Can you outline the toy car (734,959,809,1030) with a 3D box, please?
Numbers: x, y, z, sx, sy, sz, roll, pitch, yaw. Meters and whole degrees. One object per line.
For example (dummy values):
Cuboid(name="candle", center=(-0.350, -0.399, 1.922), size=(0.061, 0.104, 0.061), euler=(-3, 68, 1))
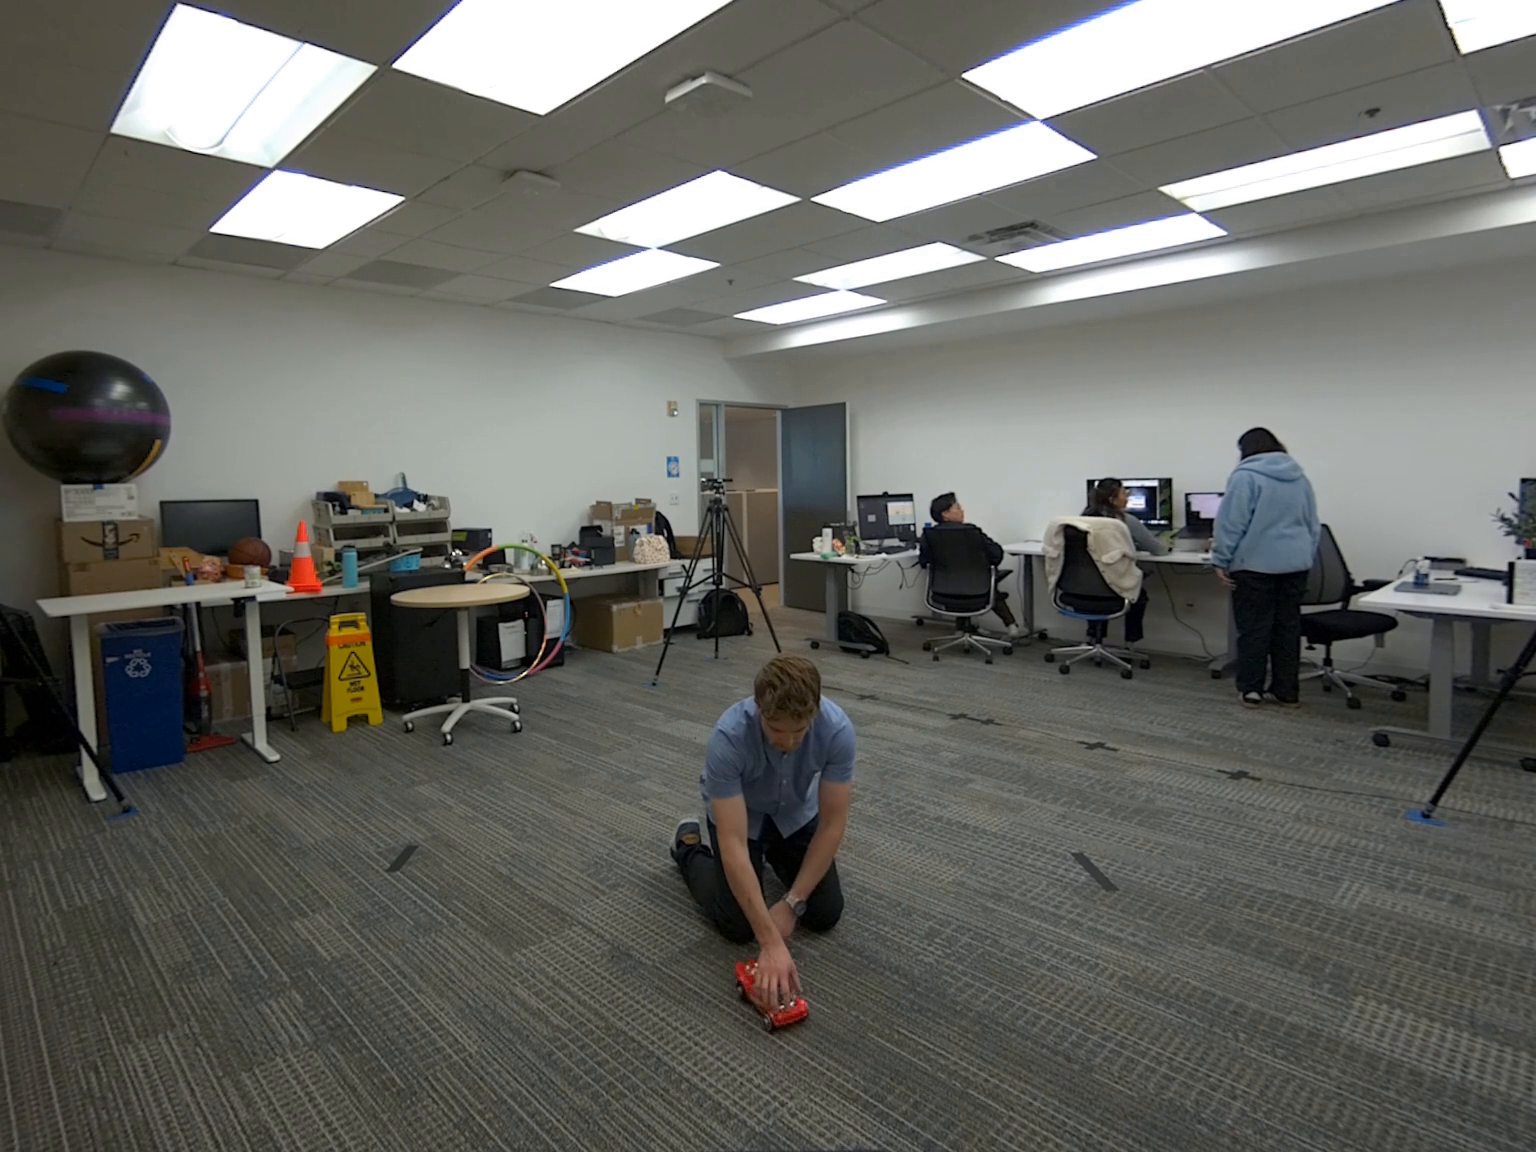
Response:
Cuboid(name="toy car", center=(0.005, 1.115, 2.274), size=(0.128, 0.082, 0.263), euler=(-7, 20, -25))
